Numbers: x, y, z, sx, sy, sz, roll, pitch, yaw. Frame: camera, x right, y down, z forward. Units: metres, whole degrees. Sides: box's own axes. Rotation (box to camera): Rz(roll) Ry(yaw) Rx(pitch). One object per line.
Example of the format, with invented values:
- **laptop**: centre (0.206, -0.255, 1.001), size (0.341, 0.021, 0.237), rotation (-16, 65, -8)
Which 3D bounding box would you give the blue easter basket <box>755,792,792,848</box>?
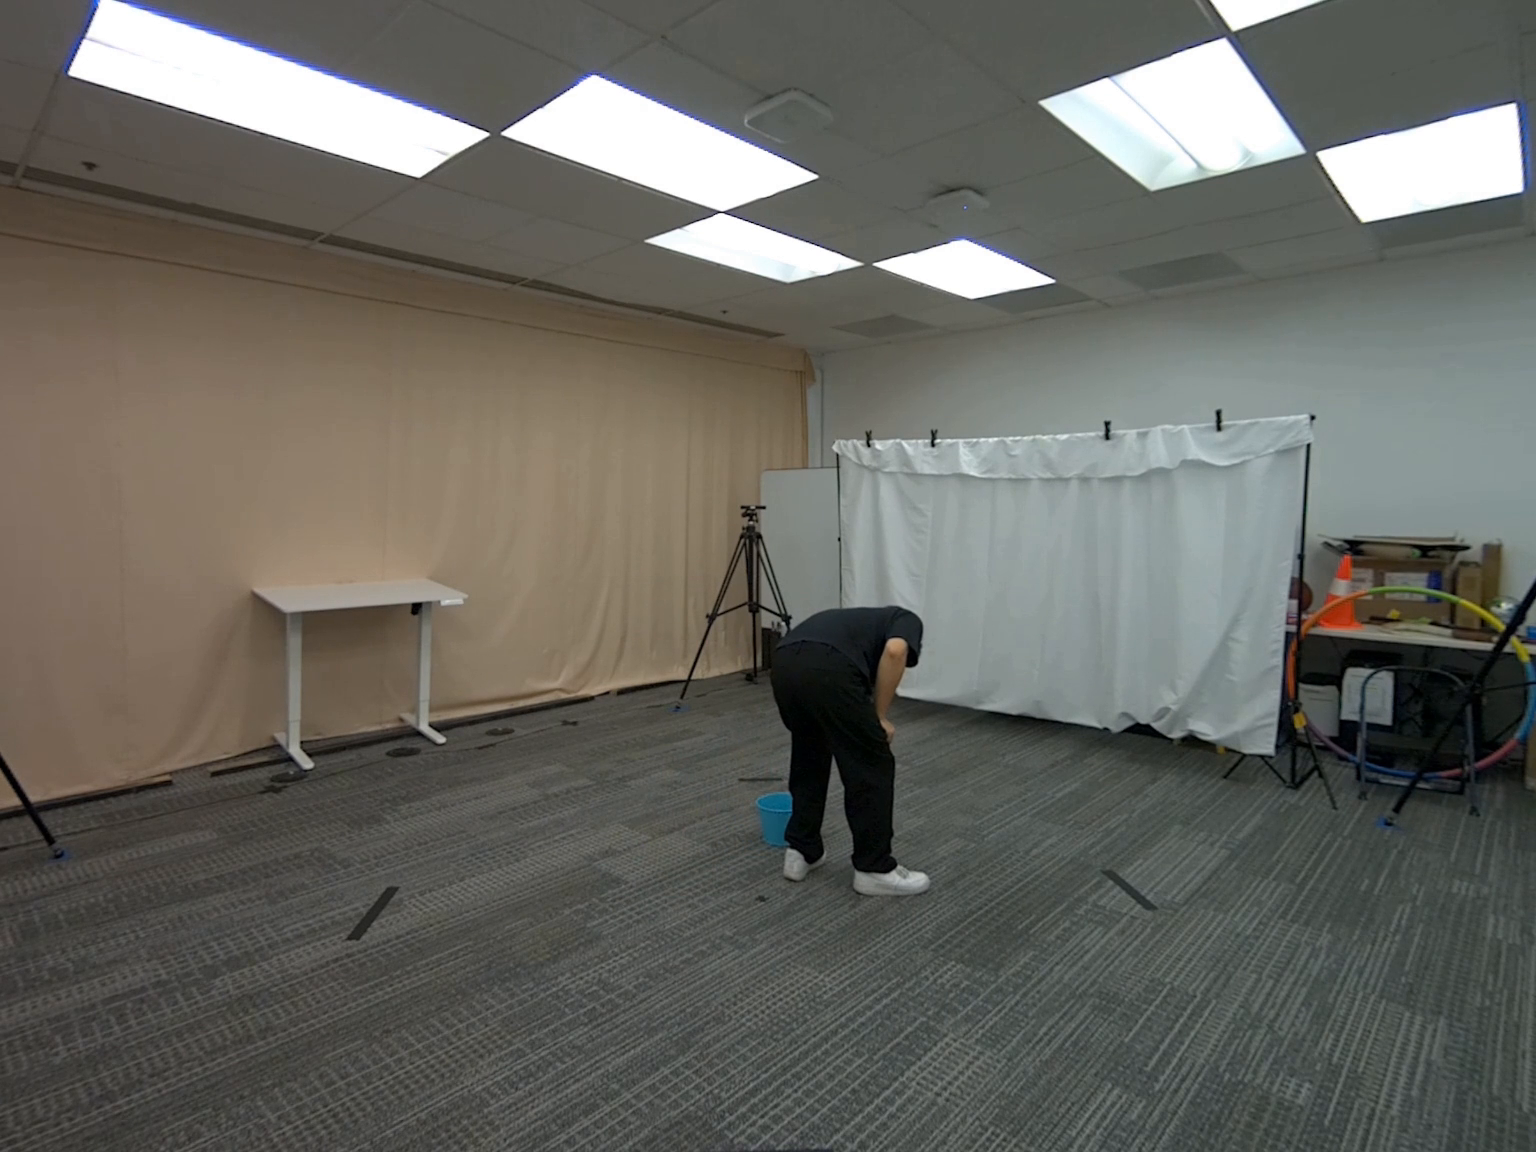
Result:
- **blue easter basket**: centre (0.068, 1.018, 3.518), size (0.243, 0.155, 0.244), rotation (-2, 4, -2)
